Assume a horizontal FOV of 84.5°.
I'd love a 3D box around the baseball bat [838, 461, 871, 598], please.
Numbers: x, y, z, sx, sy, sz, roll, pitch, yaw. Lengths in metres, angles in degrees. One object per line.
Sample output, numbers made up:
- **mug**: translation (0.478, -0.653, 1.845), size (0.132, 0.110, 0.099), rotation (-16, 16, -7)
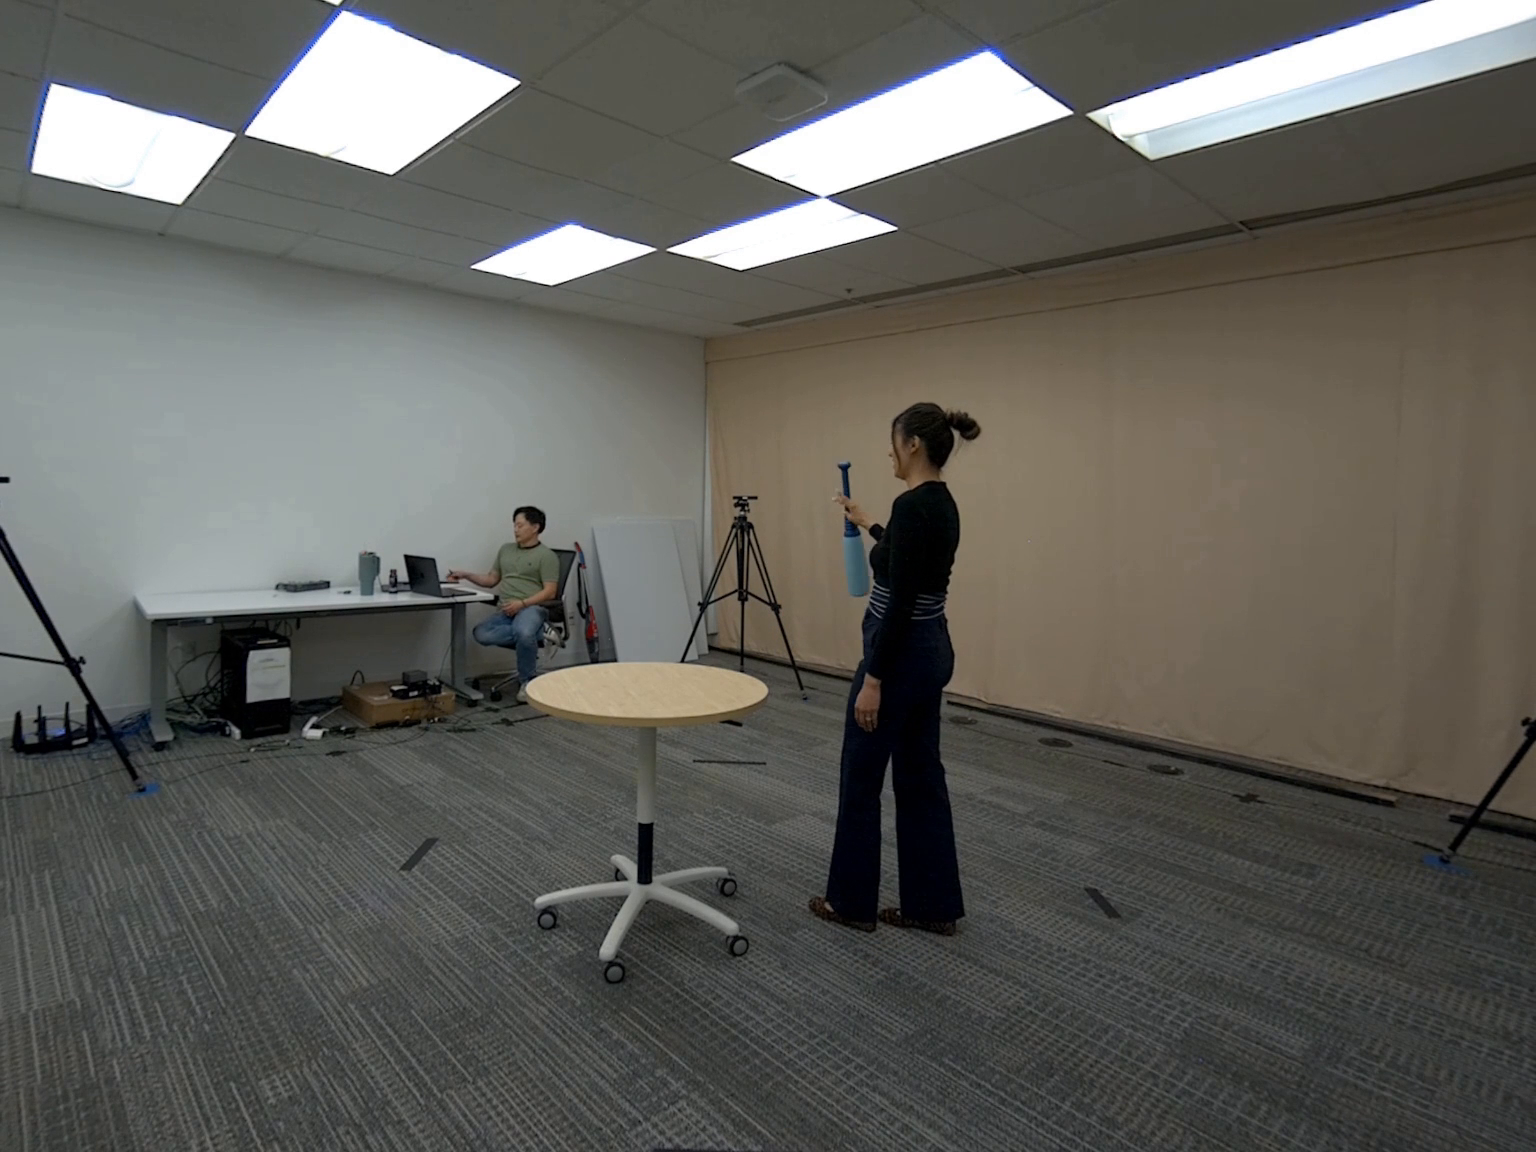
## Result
- **baseball bat**: translation (0.317, -0.181, 3.262), size (0.089, 0.536, 0.090), rotation (-6, 16, 1)
